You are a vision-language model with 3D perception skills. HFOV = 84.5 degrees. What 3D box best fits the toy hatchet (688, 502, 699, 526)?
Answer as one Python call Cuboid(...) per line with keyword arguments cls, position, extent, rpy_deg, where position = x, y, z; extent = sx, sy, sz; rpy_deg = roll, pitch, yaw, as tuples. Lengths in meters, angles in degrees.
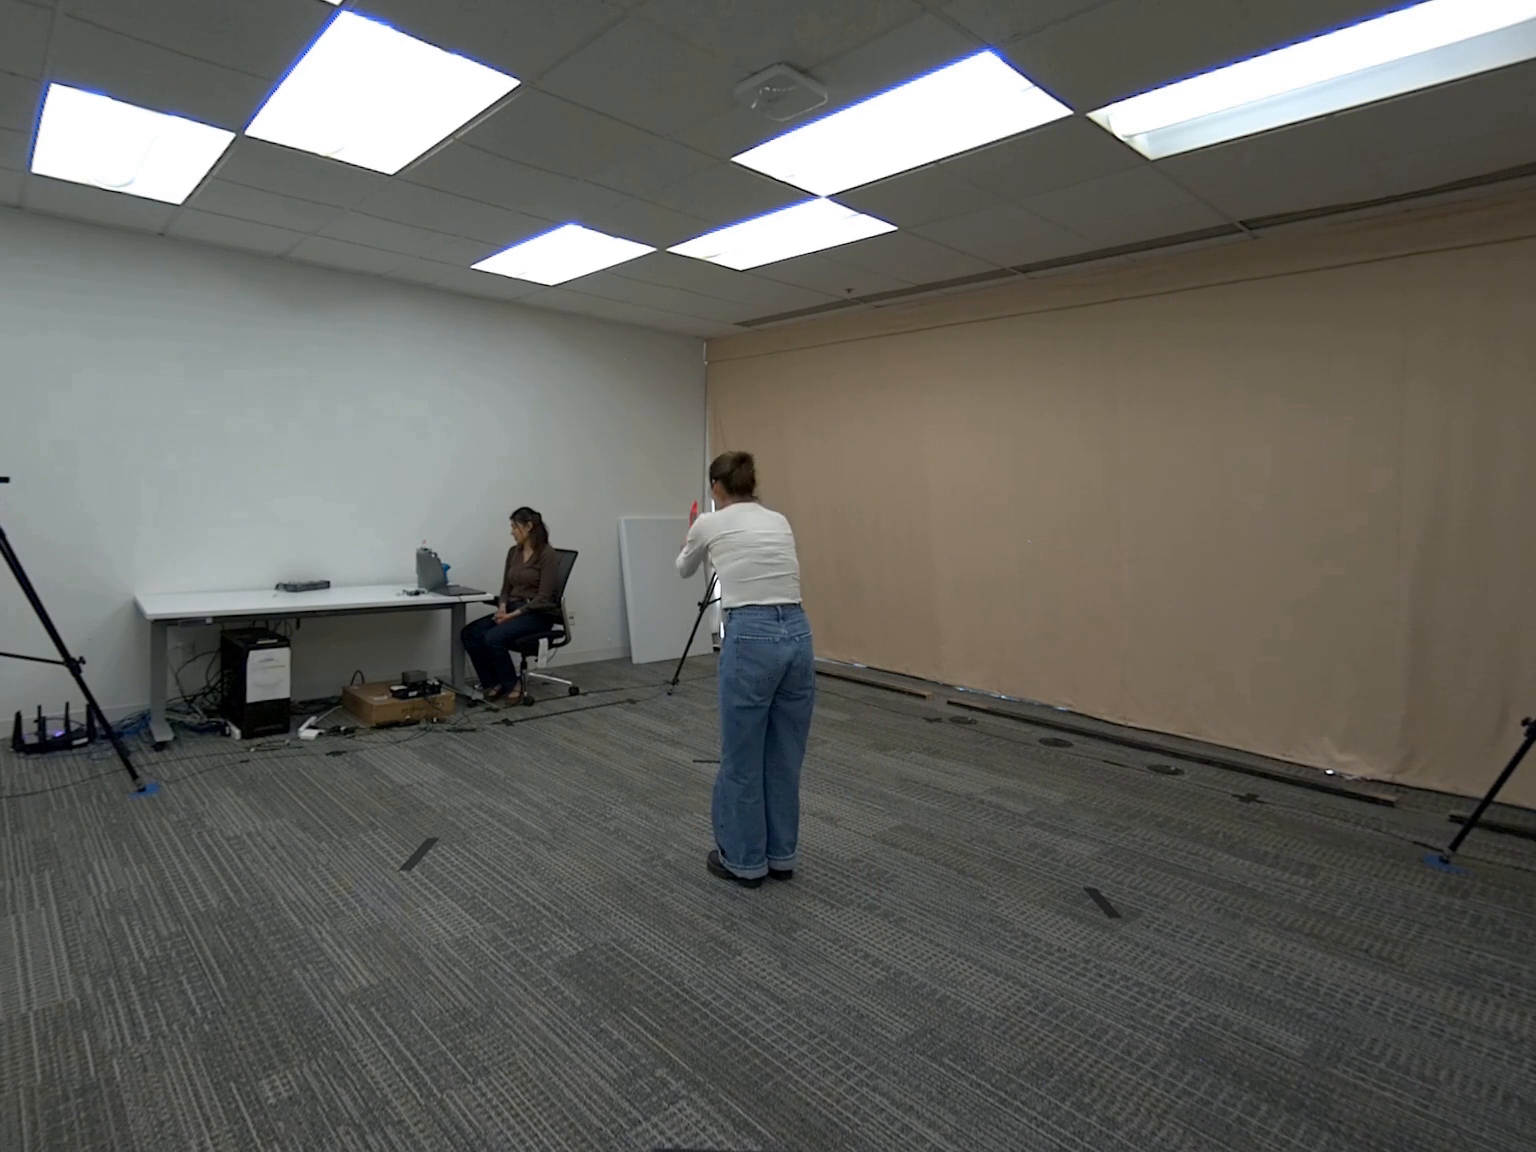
Cuboid(cls="toy hatchet", position=(-0.319, -0.154, 3.608), extent=(0.029, 0.275, 0.130), rpy_deg=(14, -36, -12))
